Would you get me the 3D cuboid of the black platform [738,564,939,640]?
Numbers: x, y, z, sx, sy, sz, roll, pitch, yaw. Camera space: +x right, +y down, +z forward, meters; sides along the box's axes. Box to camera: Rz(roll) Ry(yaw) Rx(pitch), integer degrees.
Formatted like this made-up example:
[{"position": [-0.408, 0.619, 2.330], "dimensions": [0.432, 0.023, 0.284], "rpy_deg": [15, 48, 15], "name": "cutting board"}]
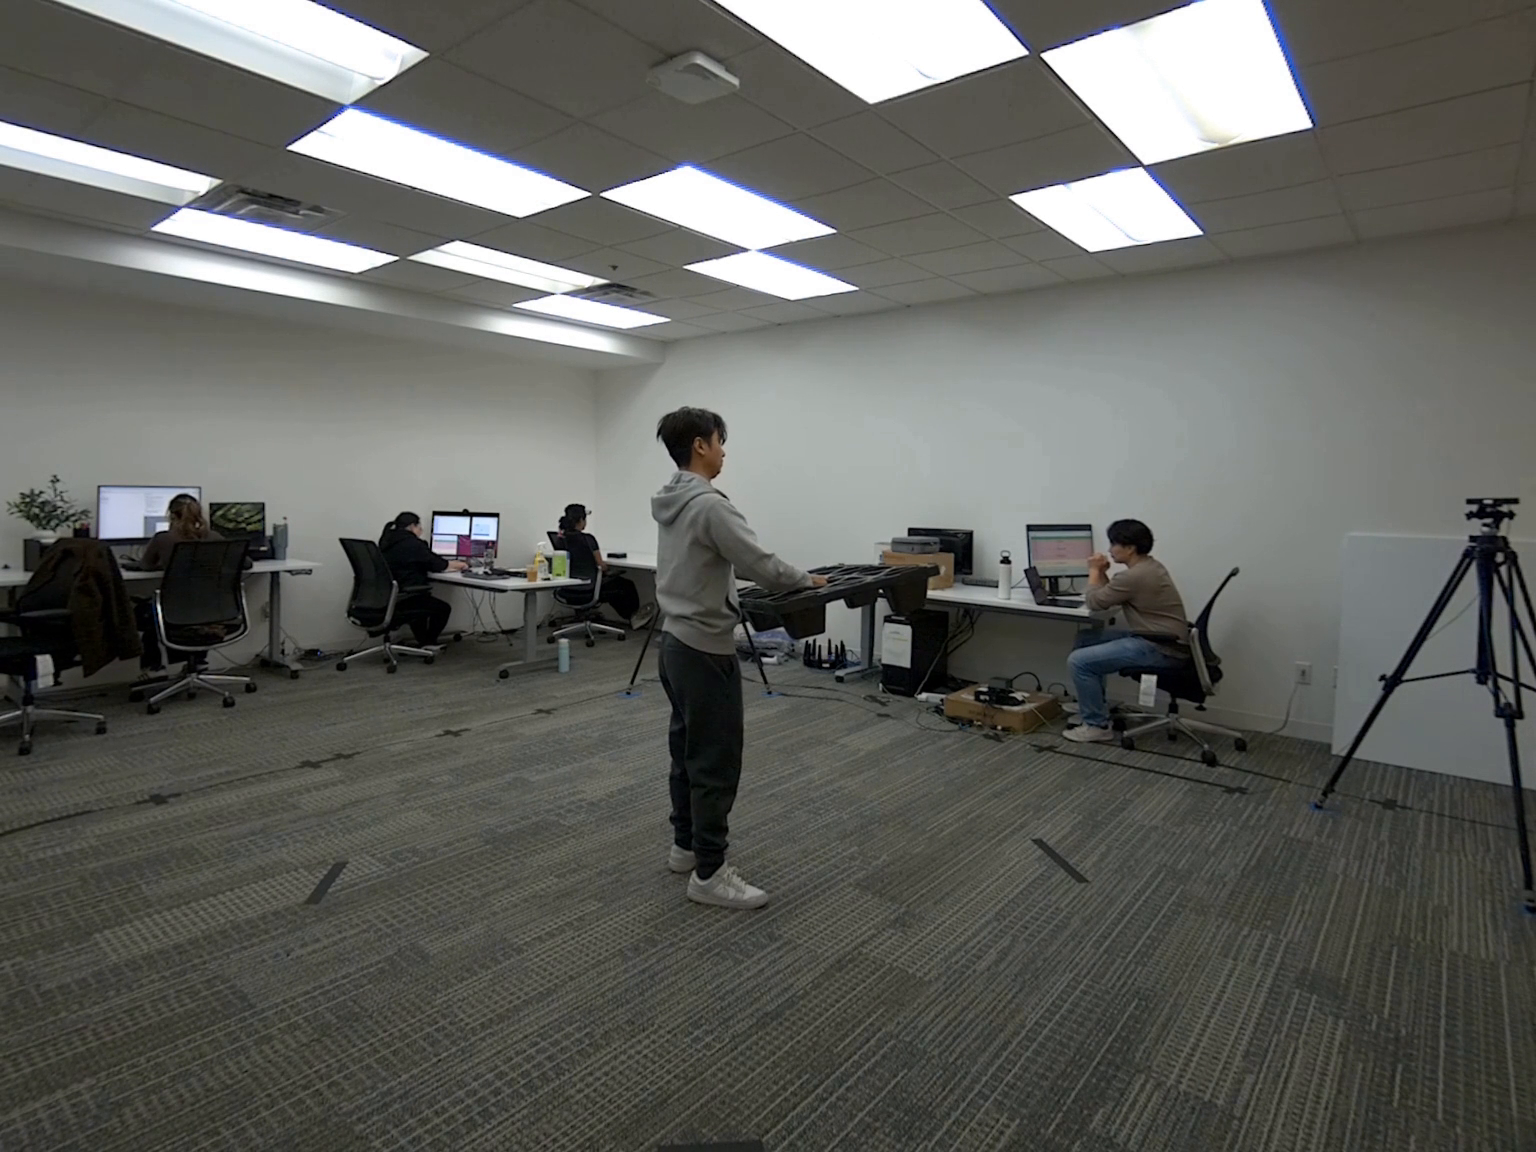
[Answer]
[{"position": [0.162, 0.079, 3.079], "dimensions": [0.597, 0.143, 0.820], "rpy_deg": [-13, 6, -18], "name": "black platform"}]
